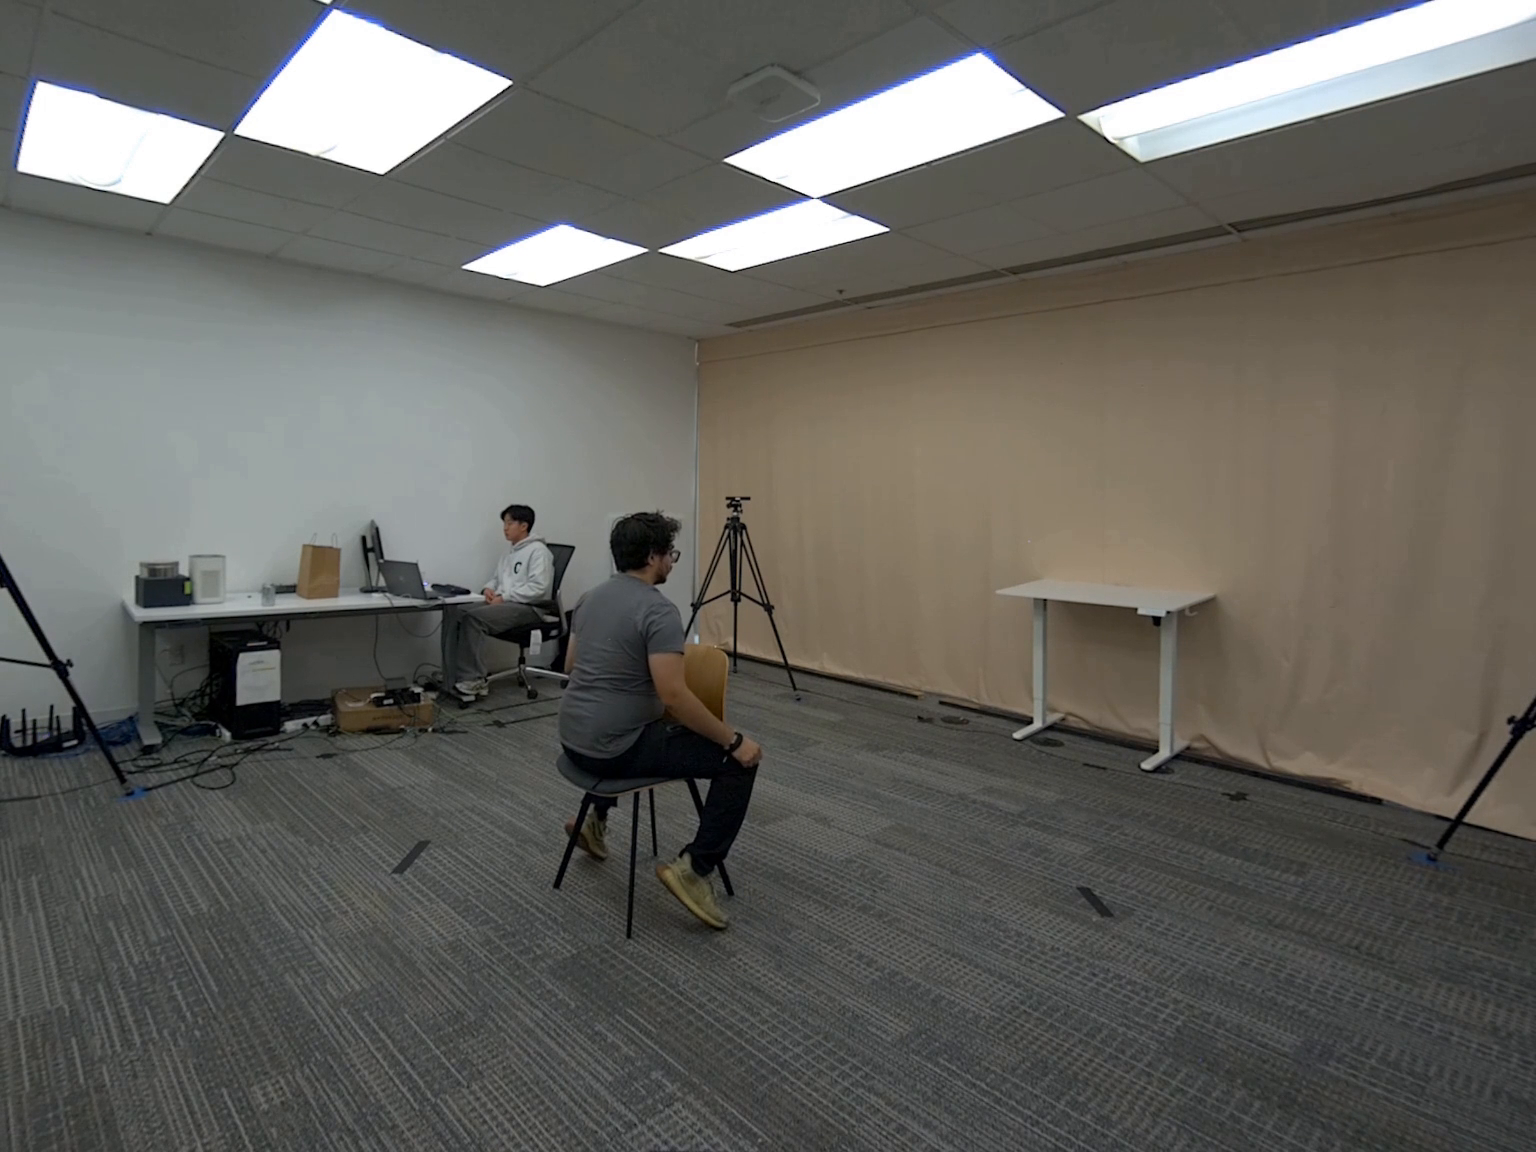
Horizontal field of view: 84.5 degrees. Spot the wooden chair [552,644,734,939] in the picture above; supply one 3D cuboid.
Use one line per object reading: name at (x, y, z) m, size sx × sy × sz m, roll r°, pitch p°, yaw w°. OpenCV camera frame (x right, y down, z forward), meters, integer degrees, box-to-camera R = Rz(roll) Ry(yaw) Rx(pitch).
wooden chair at (-0.437, 0.694, 2.923) m, size 0.510 × 0.877 × 0.490 m, roll 3°, pitch 2°, yaw -44°
